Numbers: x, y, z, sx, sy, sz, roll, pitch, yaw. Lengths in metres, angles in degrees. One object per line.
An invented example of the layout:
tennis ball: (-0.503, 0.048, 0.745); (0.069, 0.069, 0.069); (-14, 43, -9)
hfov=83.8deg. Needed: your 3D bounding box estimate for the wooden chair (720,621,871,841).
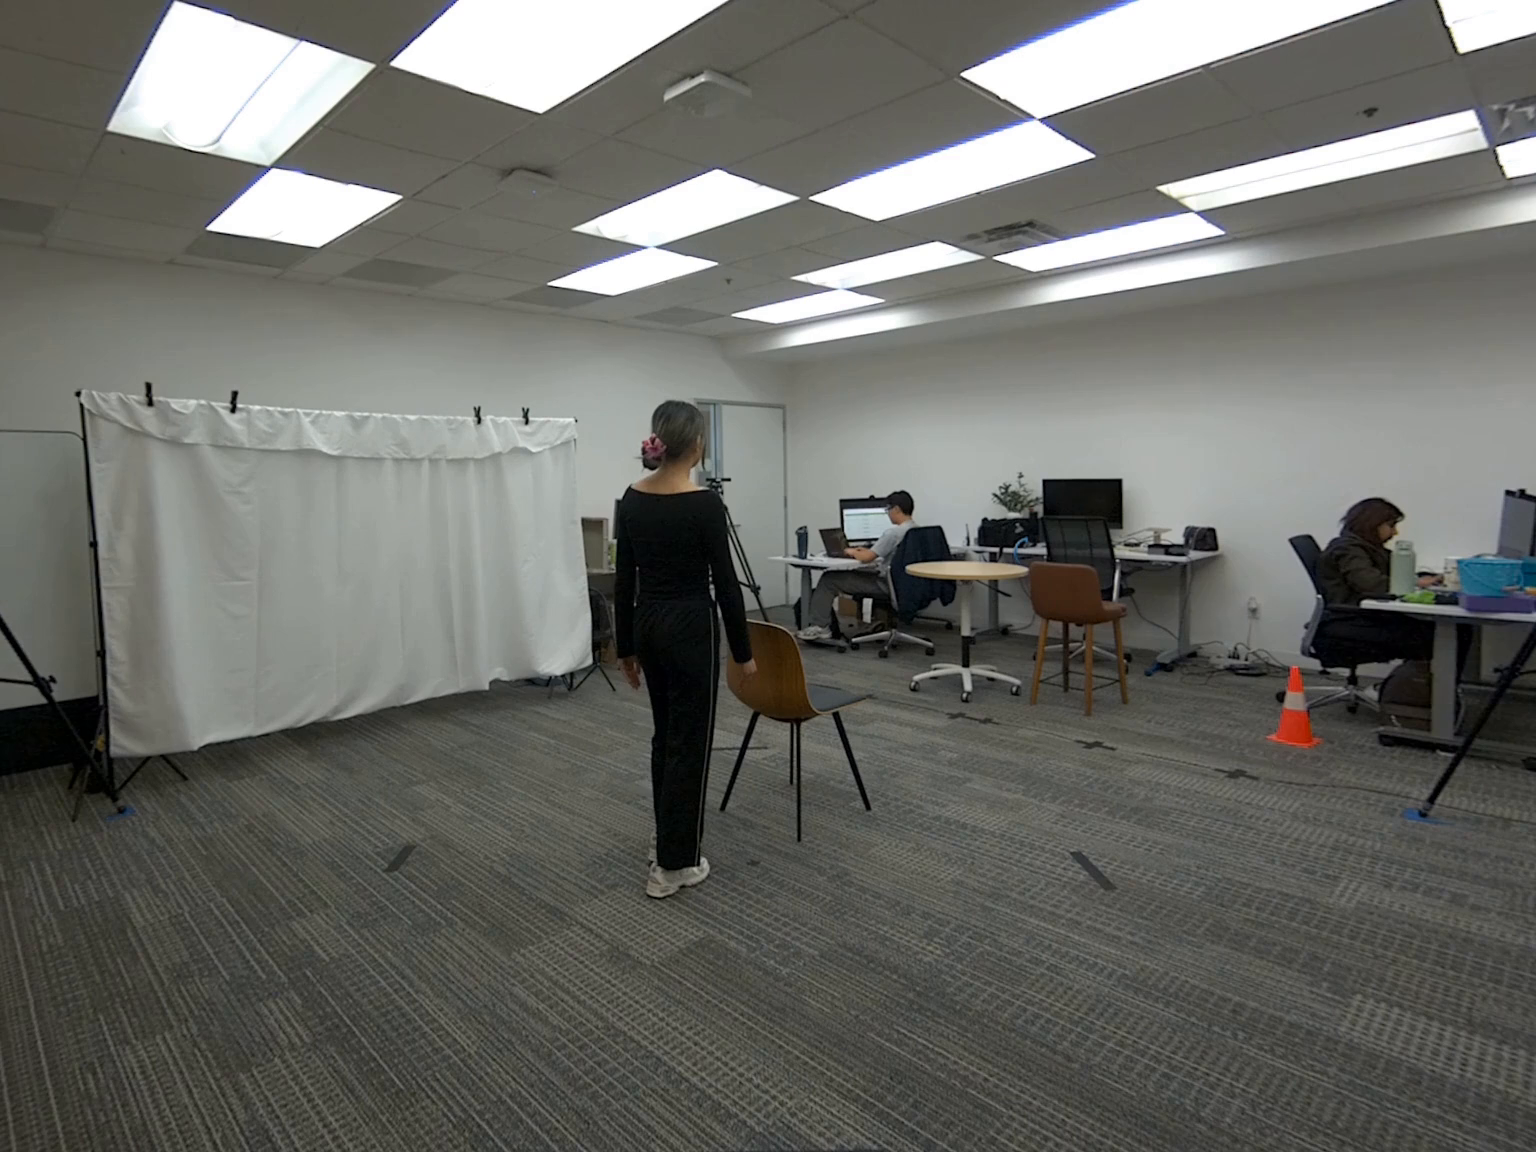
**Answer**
wooden chair: (0.115, 0.561, 3.566); (0.511, 0.872, 0.493); (-11, 10, -44)
